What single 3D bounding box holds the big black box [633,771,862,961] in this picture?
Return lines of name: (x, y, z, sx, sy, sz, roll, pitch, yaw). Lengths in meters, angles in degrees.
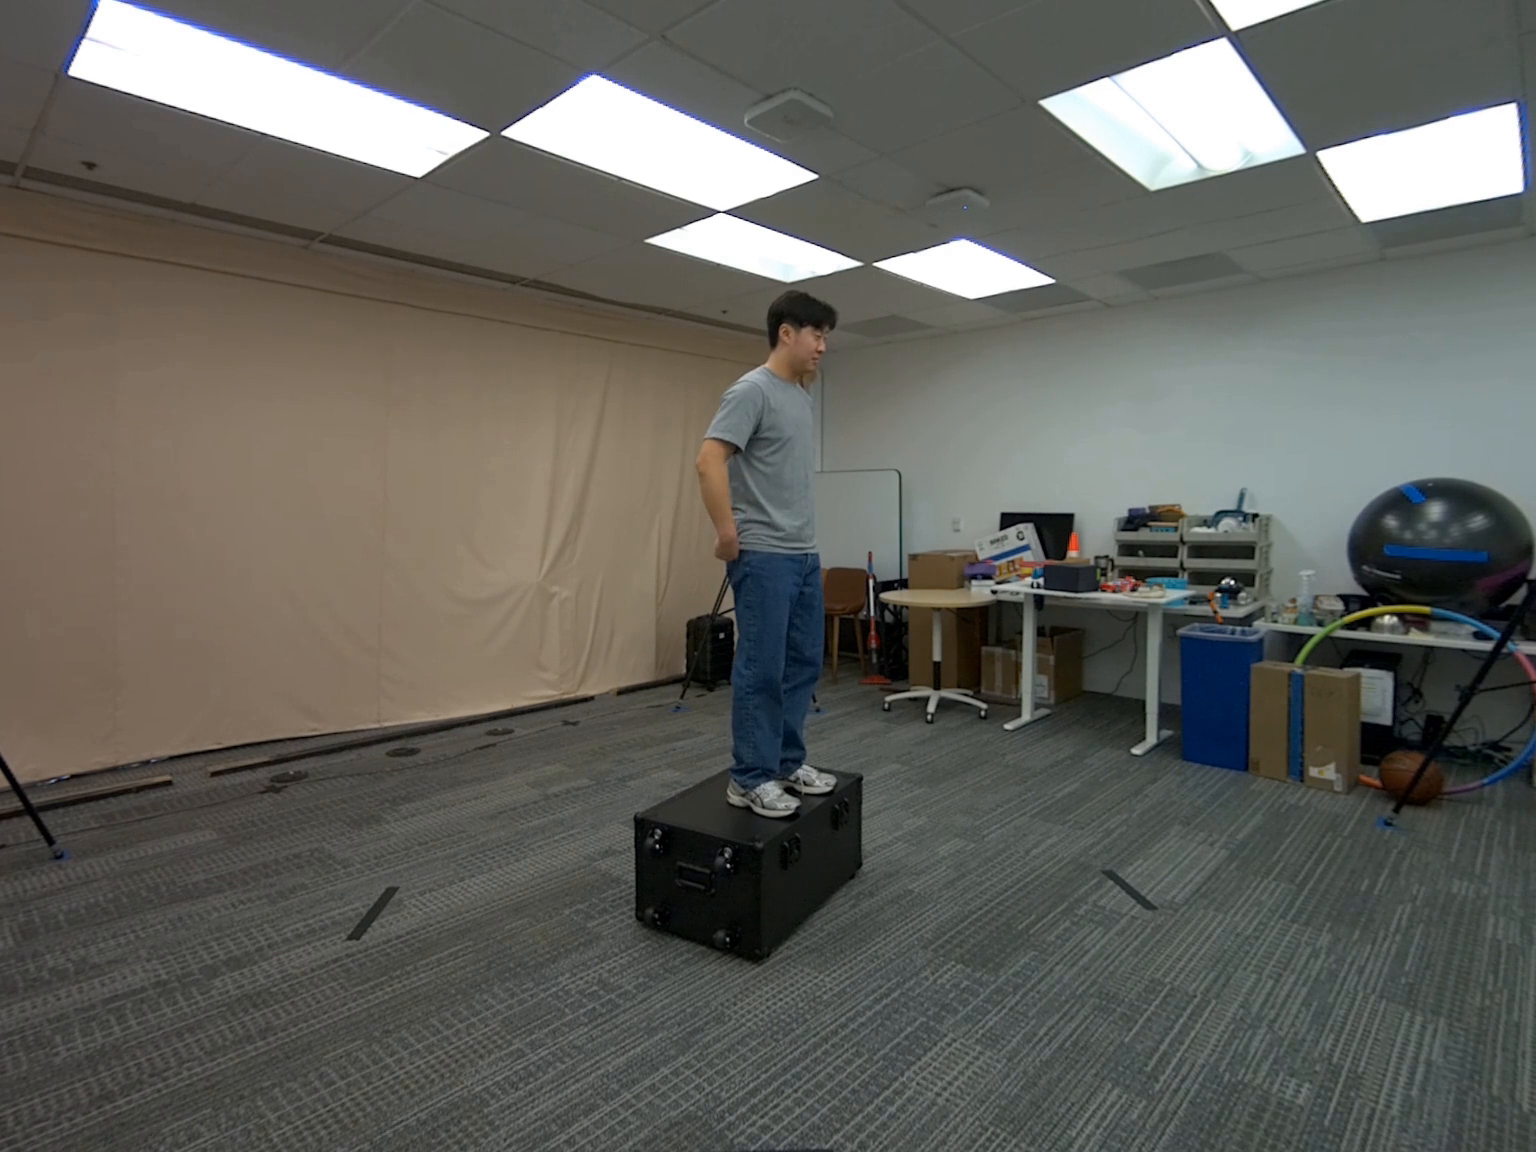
big black box: (-0.057, 0.955, 2.953, 0.536, 0.395, 0.838, 3, 5, 30)
